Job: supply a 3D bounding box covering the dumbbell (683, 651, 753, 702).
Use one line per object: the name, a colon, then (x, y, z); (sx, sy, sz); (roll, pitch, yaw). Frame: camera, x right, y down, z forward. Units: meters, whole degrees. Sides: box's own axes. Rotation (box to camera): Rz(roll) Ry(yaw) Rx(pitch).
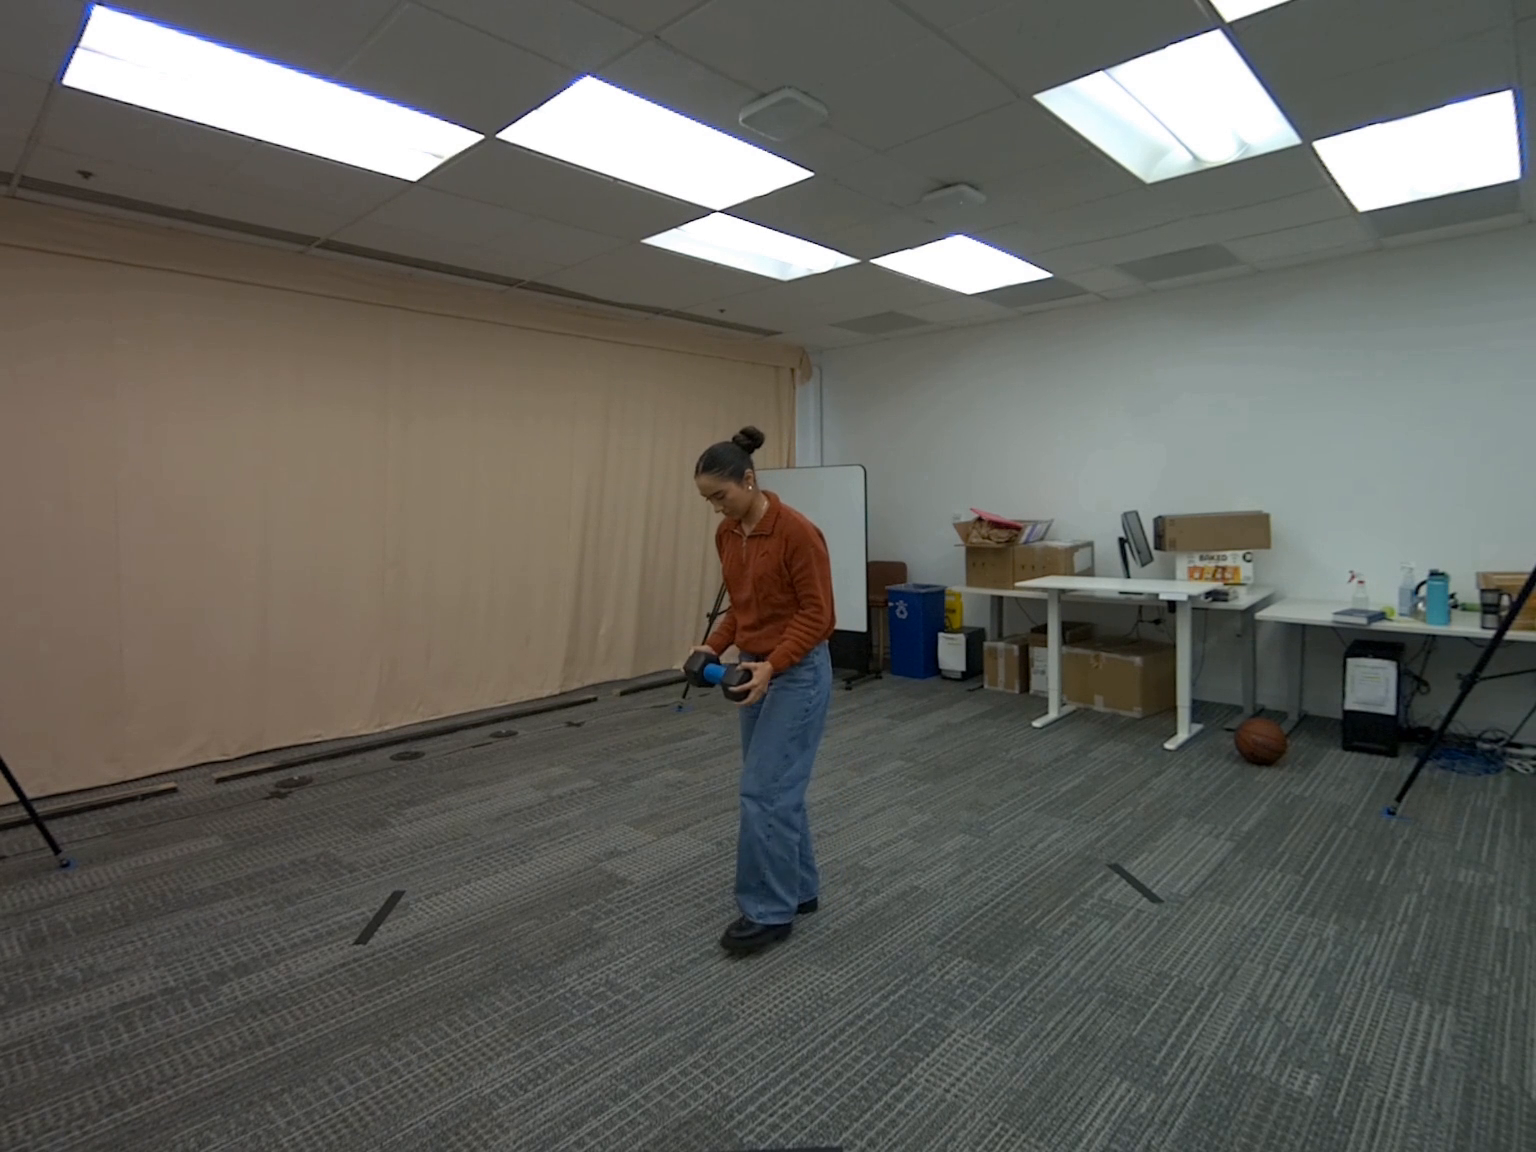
dumbbell: (-0.138, 0.312, 2.650); (0.105, 0.123, 0.303); (41, -18, -30)
